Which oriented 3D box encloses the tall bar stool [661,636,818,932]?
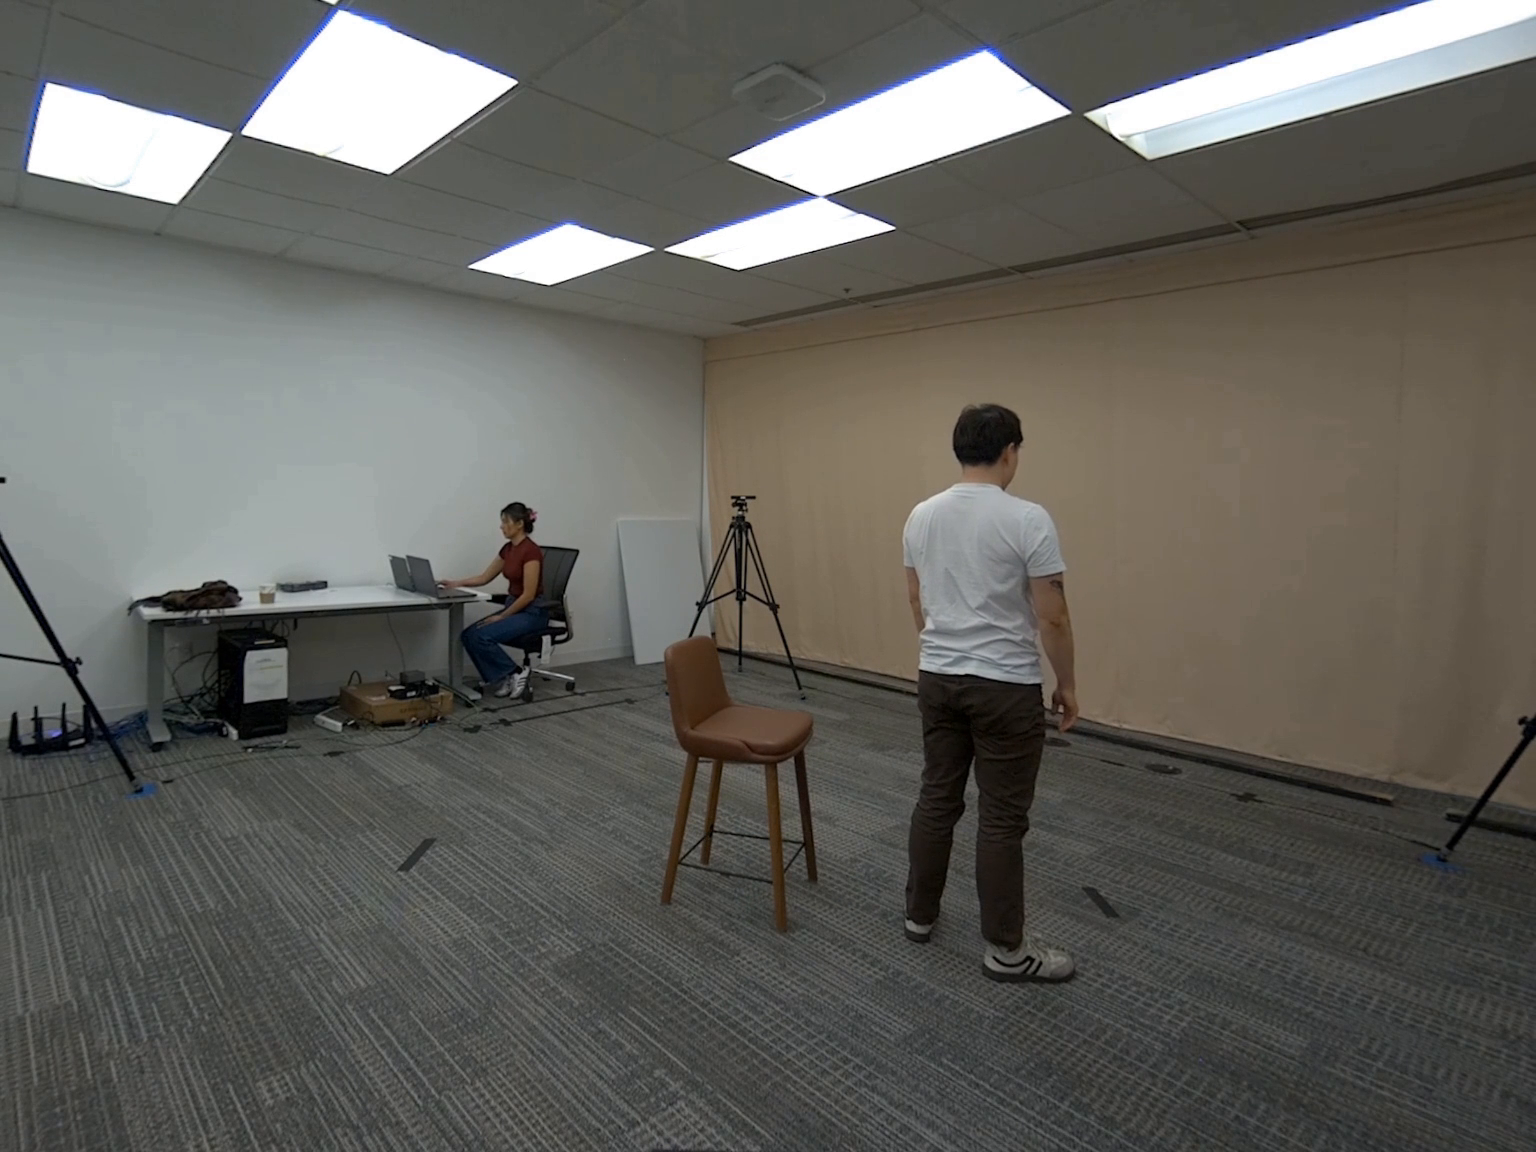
[{"bbox_3d":[-0.094,0.684,2.942,0.475,0.888,0.450,1,3,21],"label":"tall bar stool"}]
